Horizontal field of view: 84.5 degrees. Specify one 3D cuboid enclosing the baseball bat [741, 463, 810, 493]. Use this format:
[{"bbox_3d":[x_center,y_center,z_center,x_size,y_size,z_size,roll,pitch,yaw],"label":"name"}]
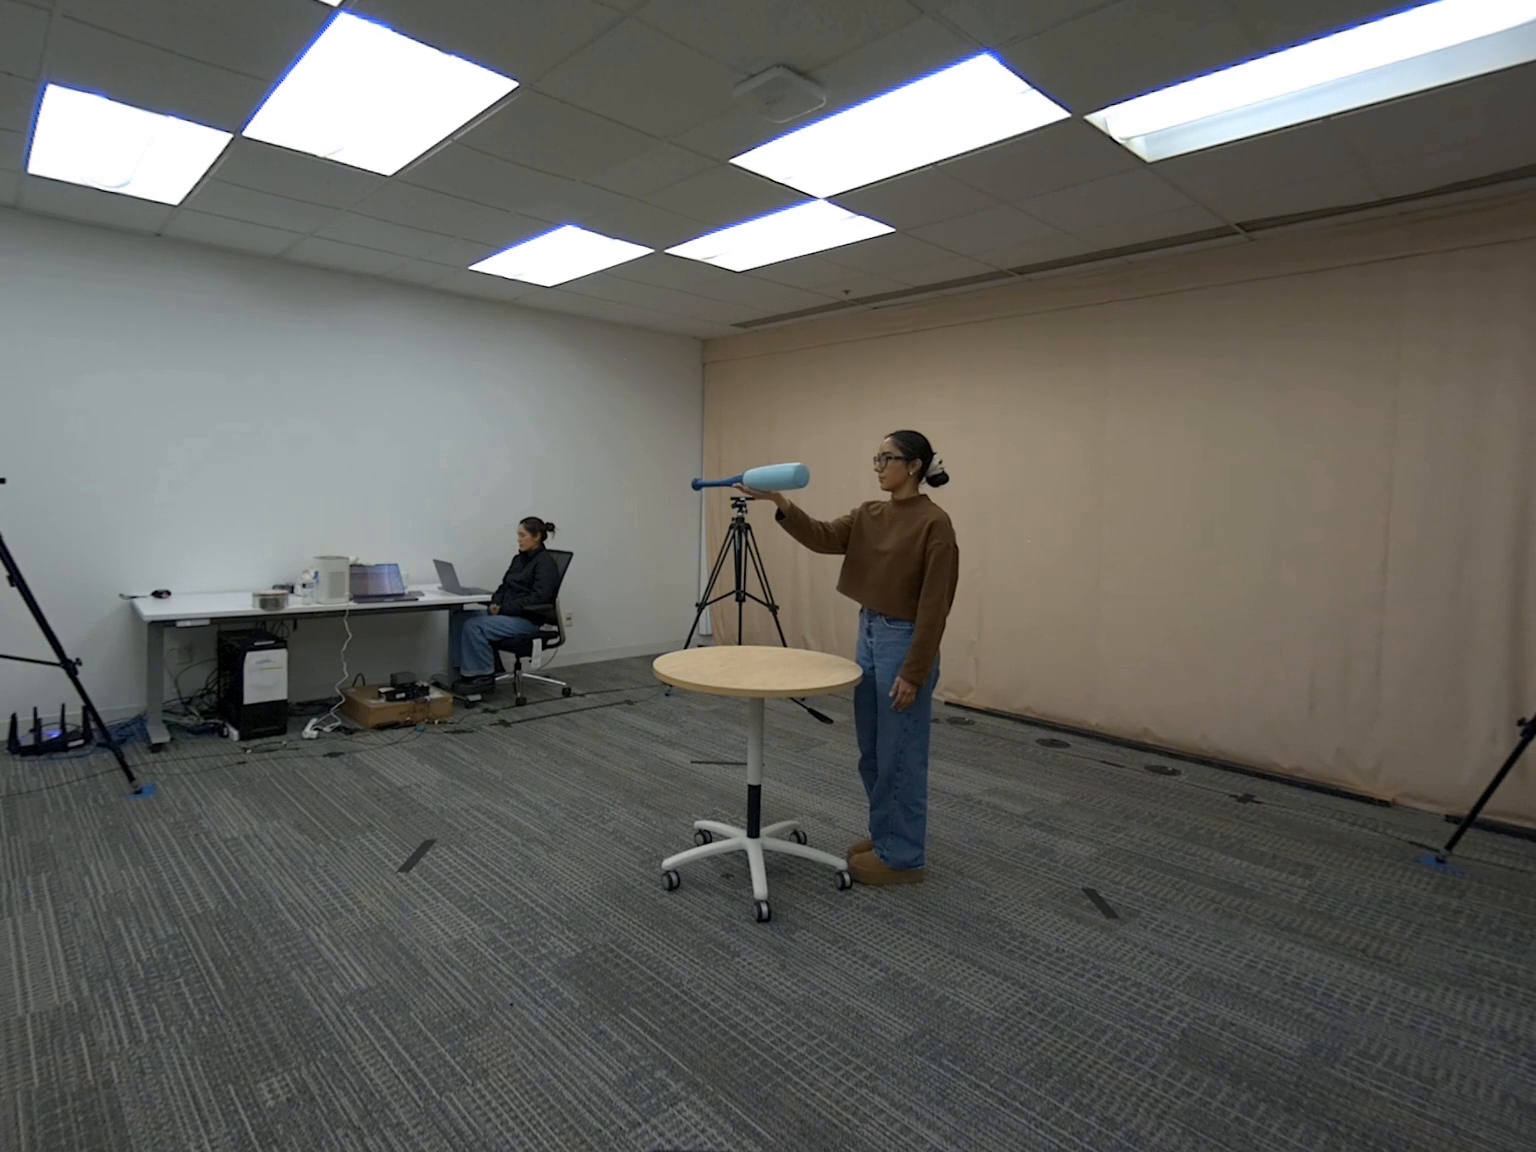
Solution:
[{"bbox_3d":[-0.081,-0.338,2.984,0.556,0.089,0.087,1,3,44],"label":"baseball bat"}]
